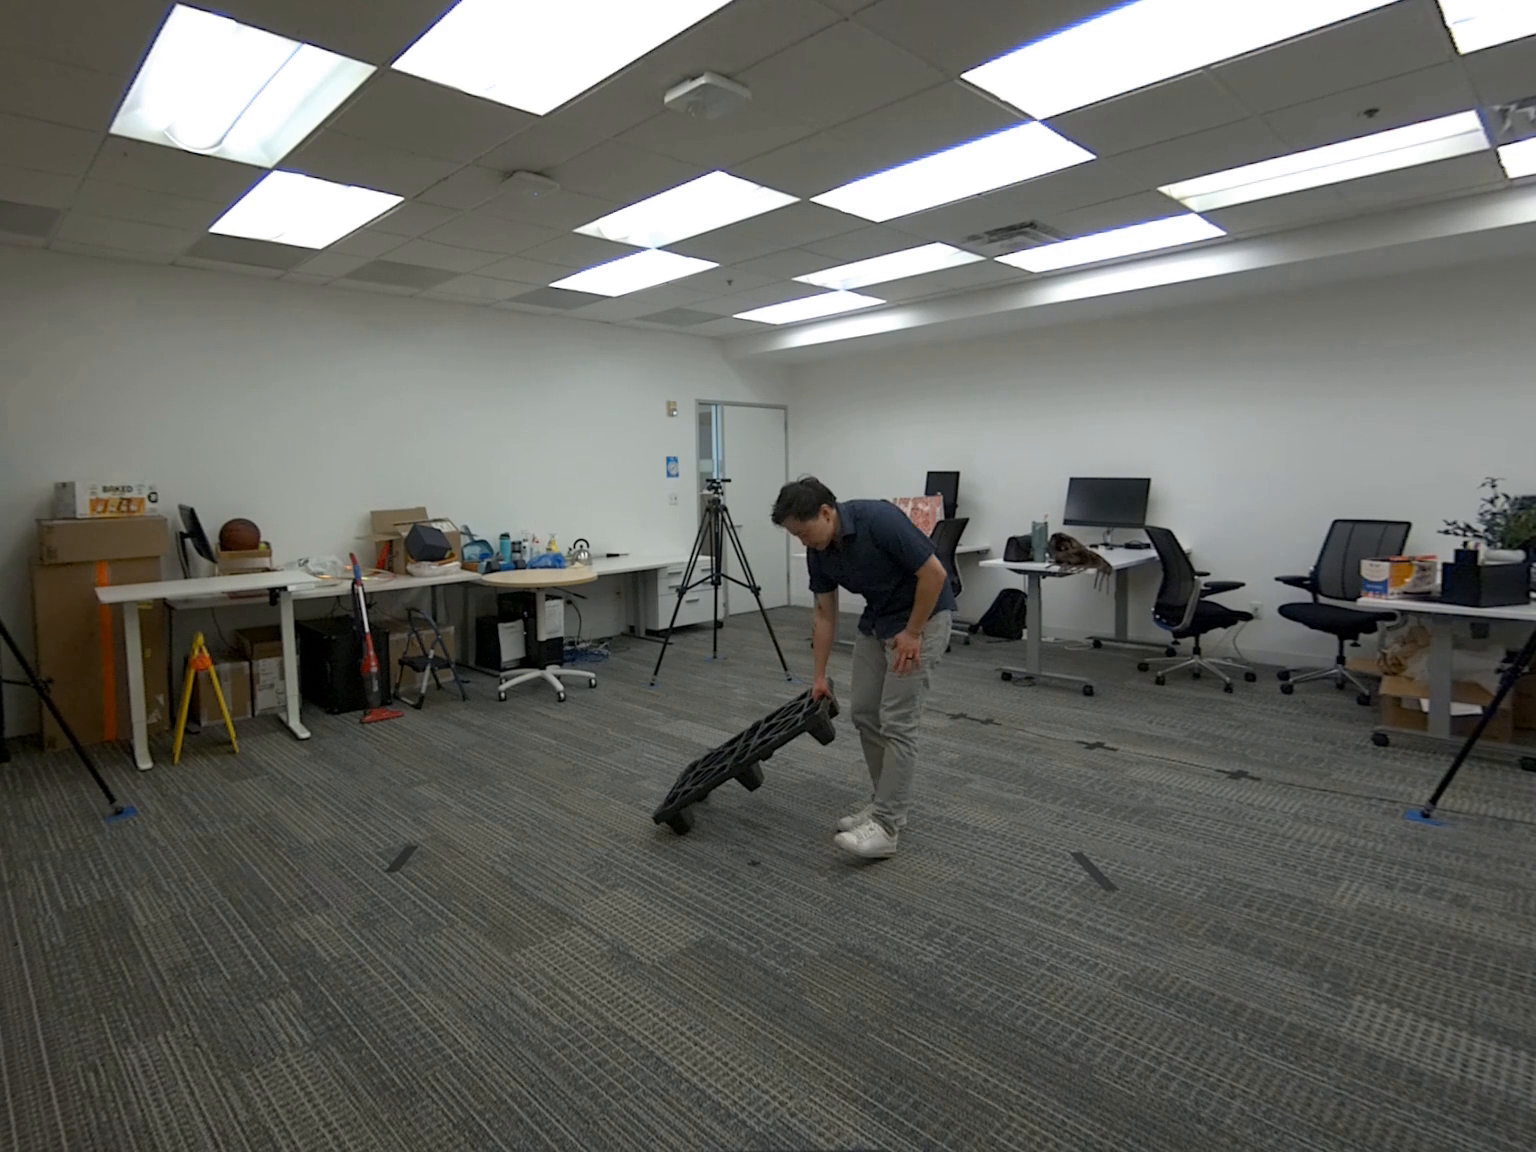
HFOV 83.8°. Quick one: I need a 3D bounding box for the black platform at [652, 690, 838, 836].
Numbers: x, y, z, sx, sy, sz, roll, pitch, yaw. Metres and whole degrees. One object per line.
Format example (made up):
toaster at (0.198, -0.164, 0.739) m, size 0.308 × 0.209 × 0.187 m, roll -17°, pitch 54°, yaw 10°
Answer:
black platform at (-0.059, 0.741, 3.522) m, size 0.808 × 0.144 × 0.601 m, roll -34°, pitch 0°, yaw 9°
